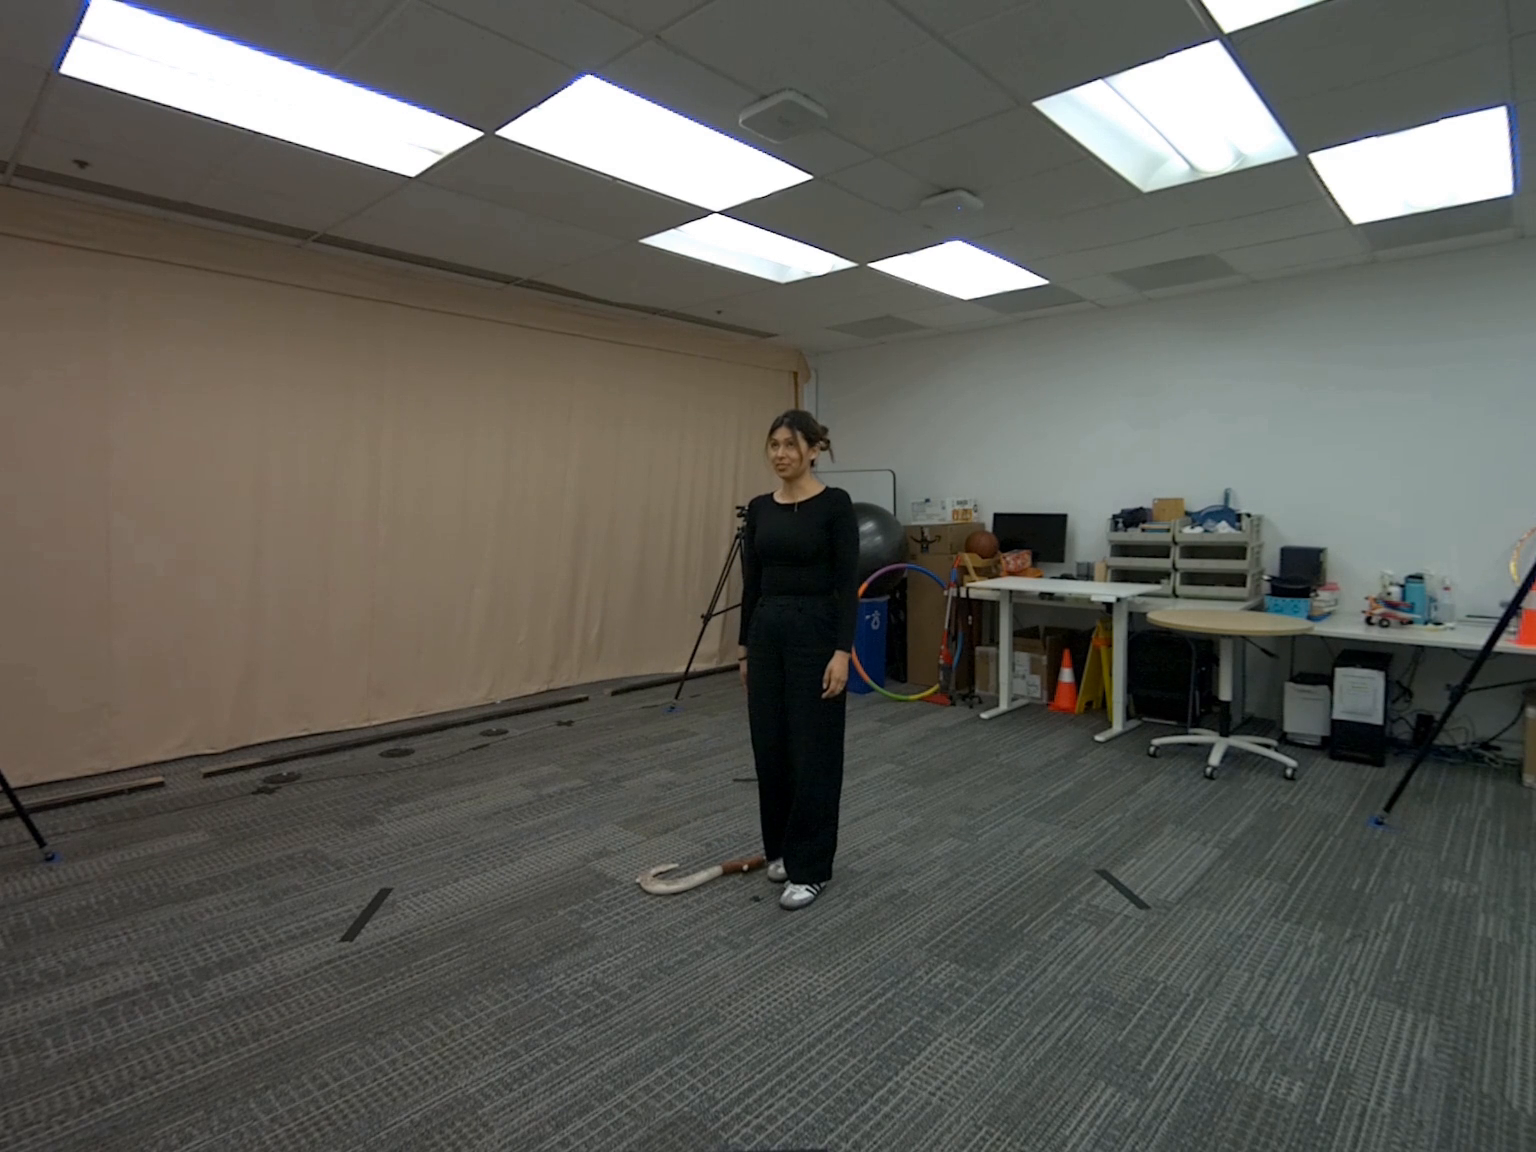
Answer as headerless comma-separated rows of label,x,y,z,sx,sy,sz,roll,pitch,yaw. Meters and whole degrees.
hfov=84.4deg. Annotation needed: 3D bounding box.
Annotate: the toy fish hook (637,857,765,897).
toy fish hook,-0.248,1.111,3.183,0.493,0.048,0.231,-3,6,-29
